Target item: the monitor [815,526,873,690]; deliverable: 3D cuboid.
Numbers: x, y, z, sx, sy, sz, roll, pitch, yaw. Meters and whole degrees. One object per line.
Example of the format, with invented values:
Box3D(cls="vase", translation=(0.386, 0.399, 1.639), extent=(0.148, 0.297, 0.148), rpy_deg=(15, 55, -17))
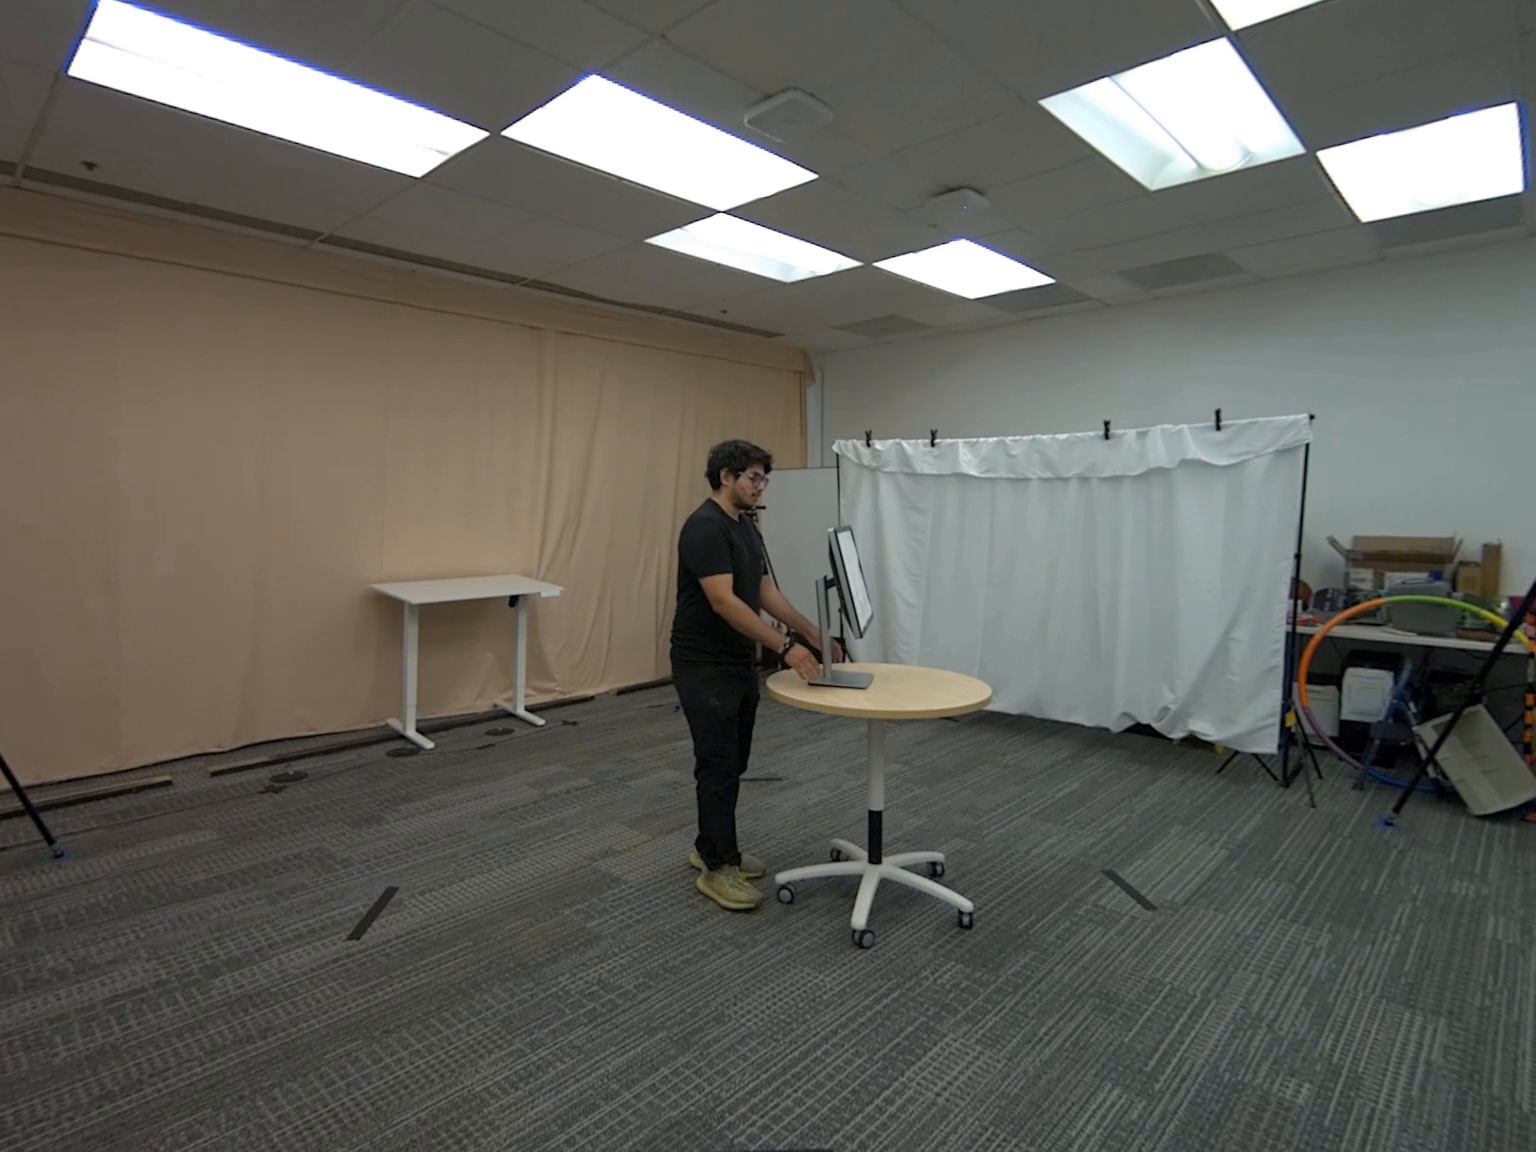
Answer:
Box3D(cls="monitor", translation=(0.241, 0.105, 2.965), extent=(0.213, 0.553, 0.558), rpy_deg=(-5, 3, 12))
